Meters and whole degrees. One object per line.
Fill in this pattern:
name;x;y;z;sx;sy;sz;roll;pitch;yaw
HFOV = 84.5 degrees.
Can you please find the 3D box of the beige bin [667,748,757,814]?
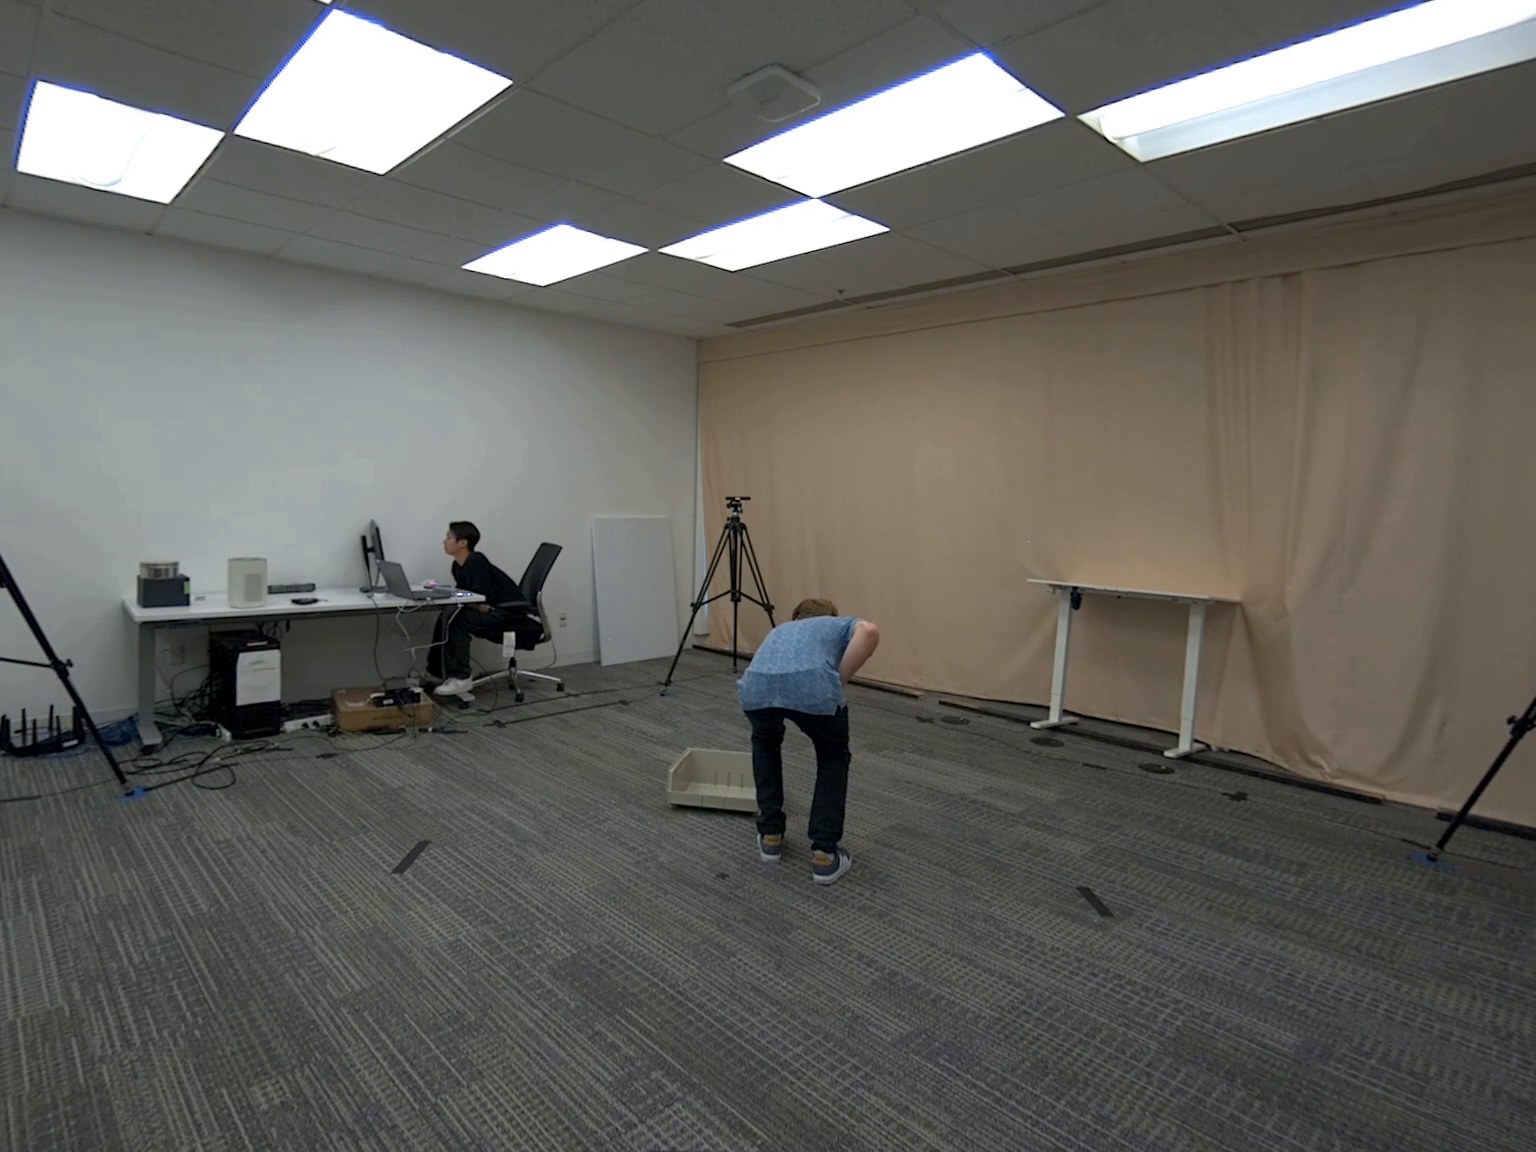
beige bin;-0.221;0.948;3.879;0.426;0.188;0.375;2;4;10
